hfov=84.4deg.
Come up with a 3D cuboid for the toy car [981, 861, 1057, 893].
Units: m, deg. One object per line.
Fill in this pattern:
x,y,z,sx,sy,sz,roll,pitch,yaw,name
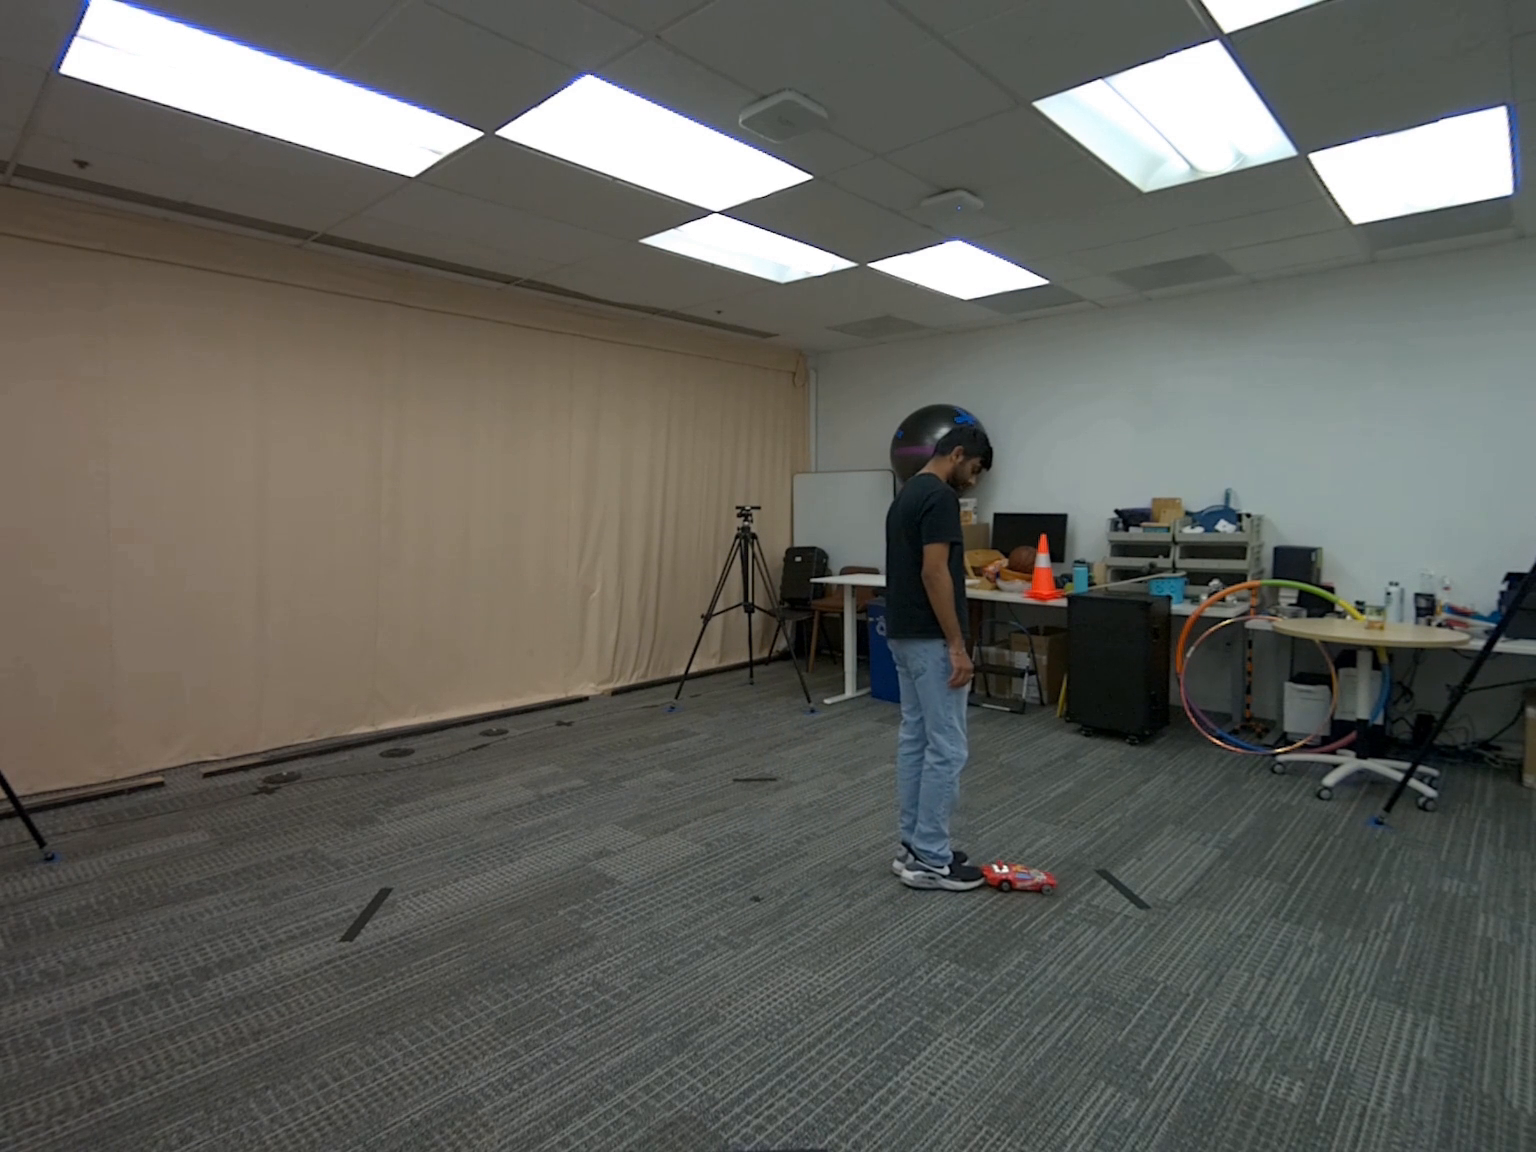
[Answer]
0.915,1.104,3.062,0.256,0.083,0.130,13,5,5,toy car
